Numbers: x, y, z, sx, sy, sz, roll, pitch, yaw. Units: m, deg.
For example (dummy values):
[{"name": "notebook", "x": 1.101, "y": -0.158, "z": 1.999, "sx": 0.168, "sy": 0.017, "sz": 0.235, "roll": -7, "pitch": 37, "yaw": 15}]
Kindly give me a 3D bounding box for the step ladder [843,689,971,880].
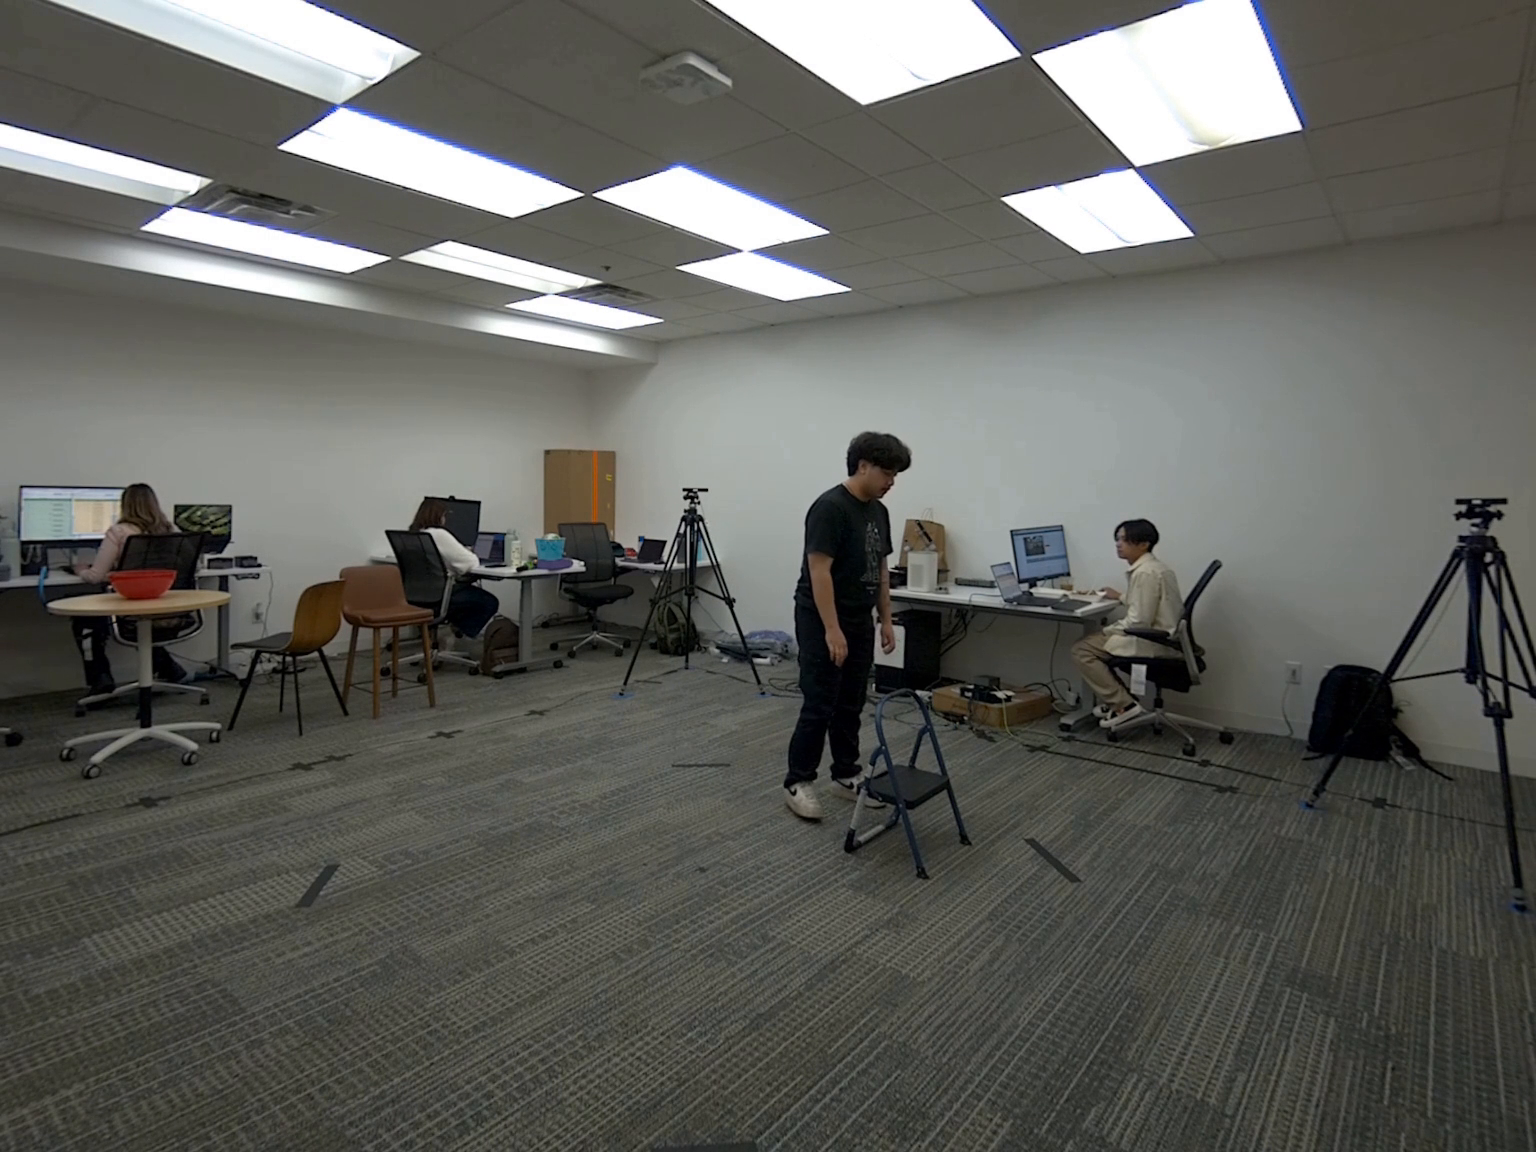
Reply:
[{"name": "step ladder", "x": 0.556, "y": 0.765, "z": 3.327, "sx": 0.361, "sy": 0.604, "sz": 0.418, "roll": 5, "pitch": 4, "yaw": 36}]
